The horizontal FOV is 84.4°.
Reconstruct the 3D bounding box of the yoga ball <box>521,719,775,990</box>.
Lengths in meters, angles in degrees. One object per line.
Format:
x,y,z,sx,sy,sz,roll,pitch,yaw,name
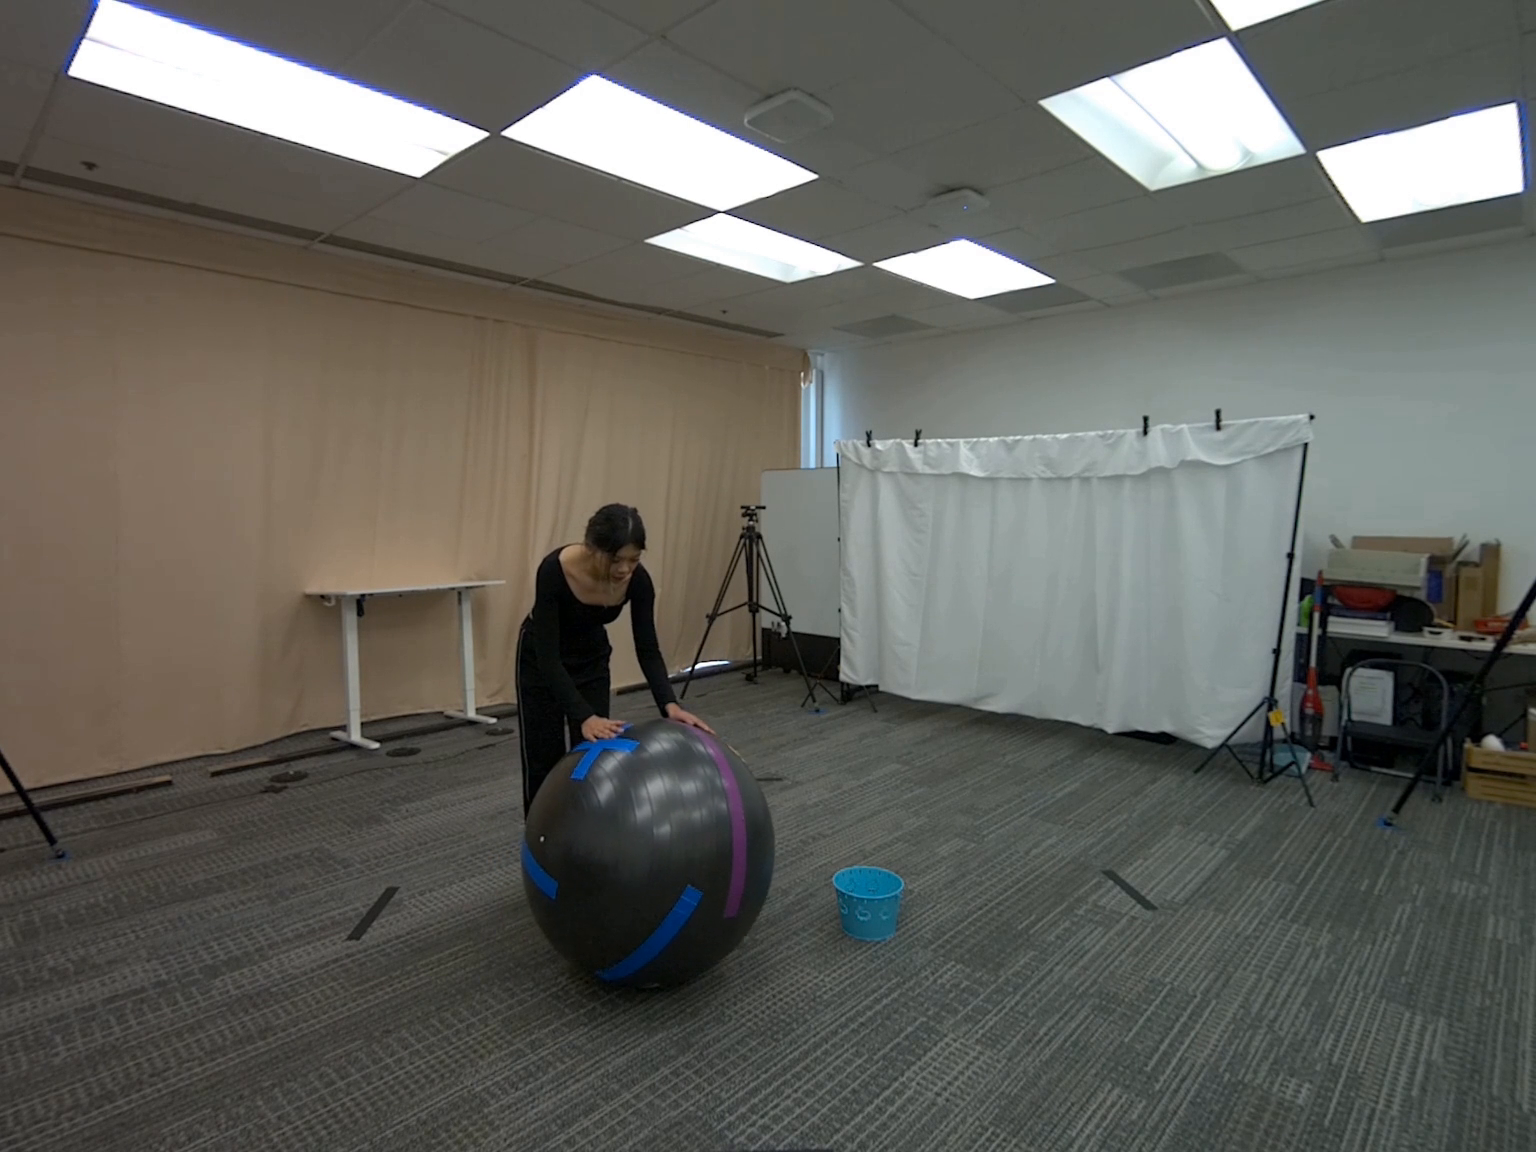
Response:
-0.350,0.819,2.538,0.757,0.756,0.760,0,4,-2,yoga ball
